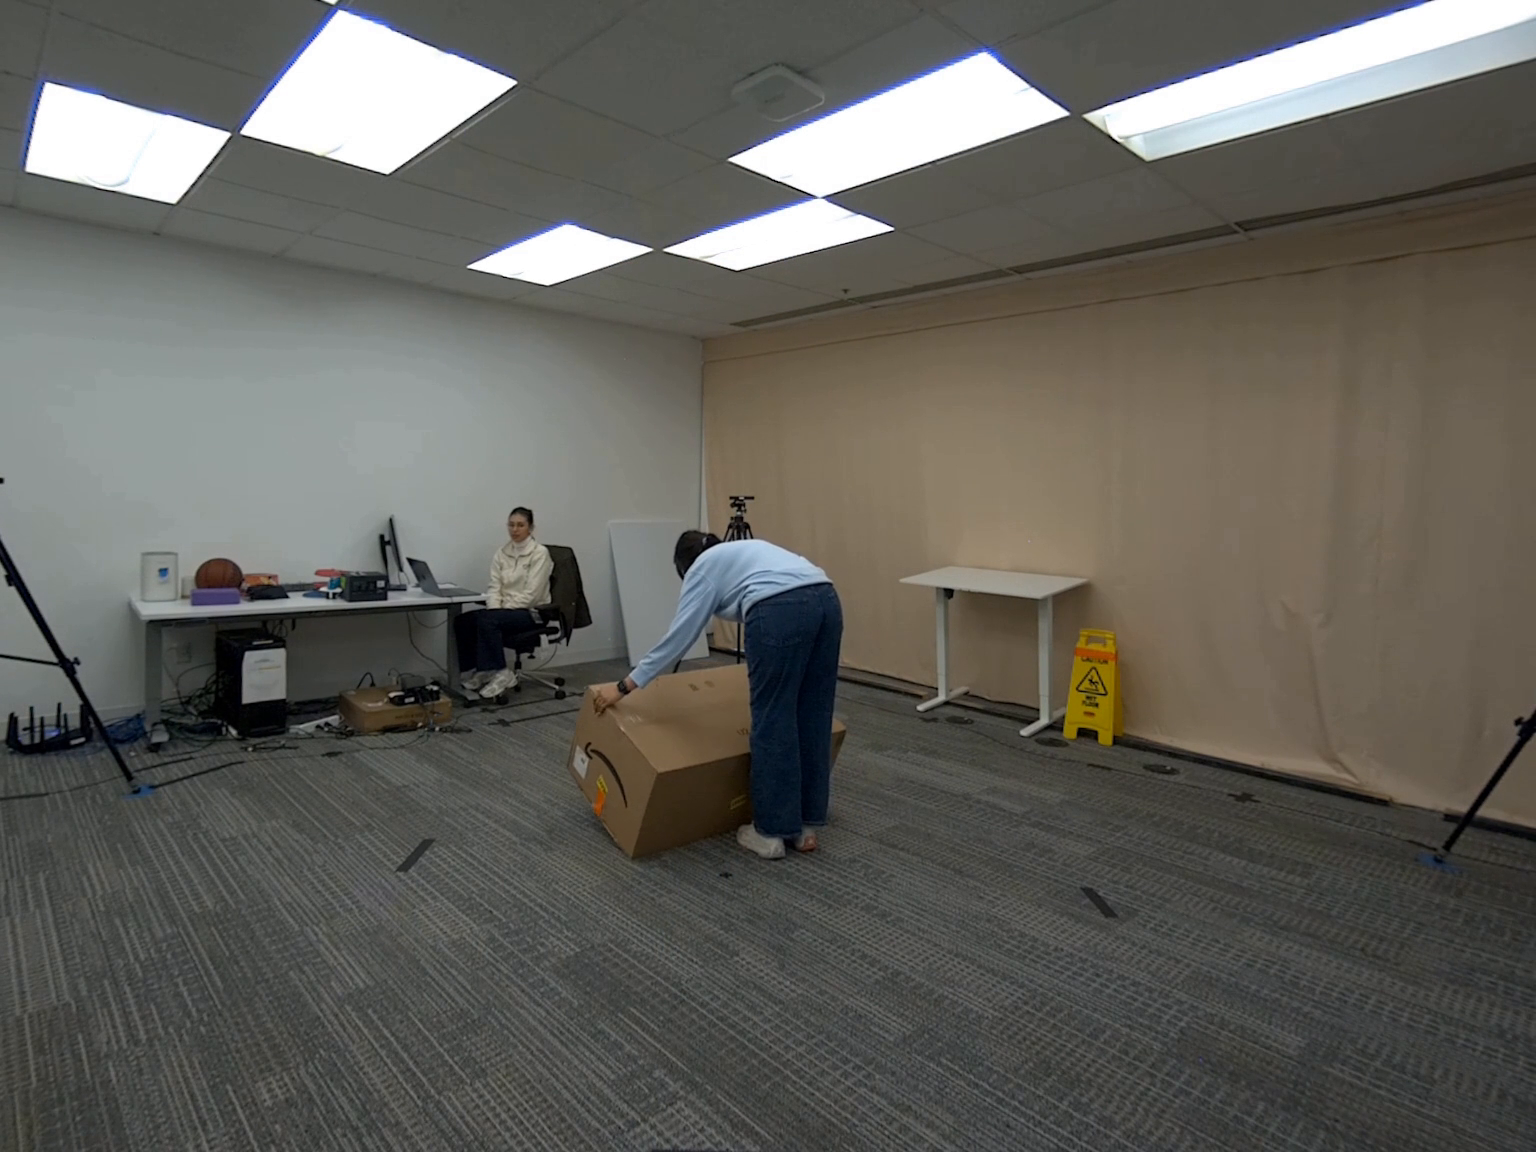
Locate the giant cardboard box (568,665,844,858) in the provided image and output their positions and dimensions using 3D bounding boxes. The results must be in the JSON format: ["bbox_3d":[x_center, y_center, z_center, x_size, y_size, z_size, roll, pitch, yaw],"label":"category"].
[{"bbox_3d":[-0.262,0.749,3.658,1.003,0.422,0.596,-3,29,-40],"label":"giant cardboard box"}]
